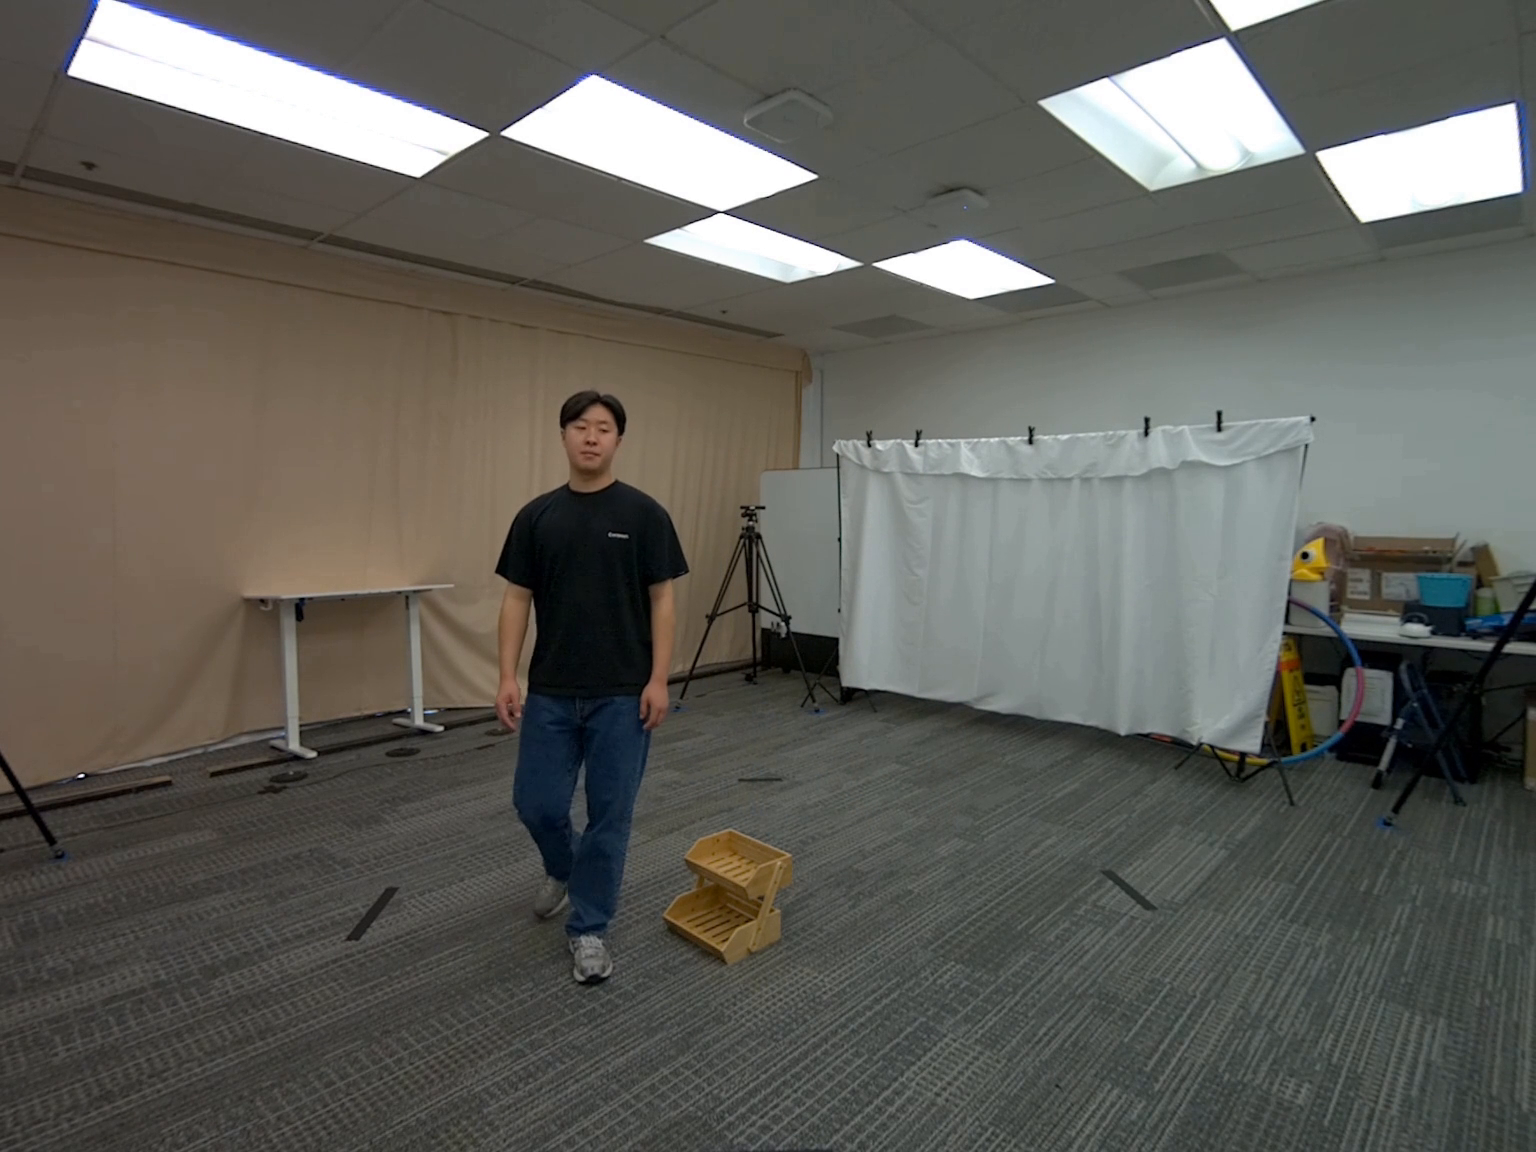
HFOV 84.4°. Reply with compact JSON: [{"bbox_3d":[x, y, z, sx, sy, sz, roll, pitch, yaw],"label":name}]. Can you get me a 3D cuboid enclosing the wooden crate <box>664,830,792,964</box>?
[{"bbox_3d":[-0.132,1.033,2.746,0.293,0.273,0.335,-3,5,-43],"label":"wooden crate"}]
